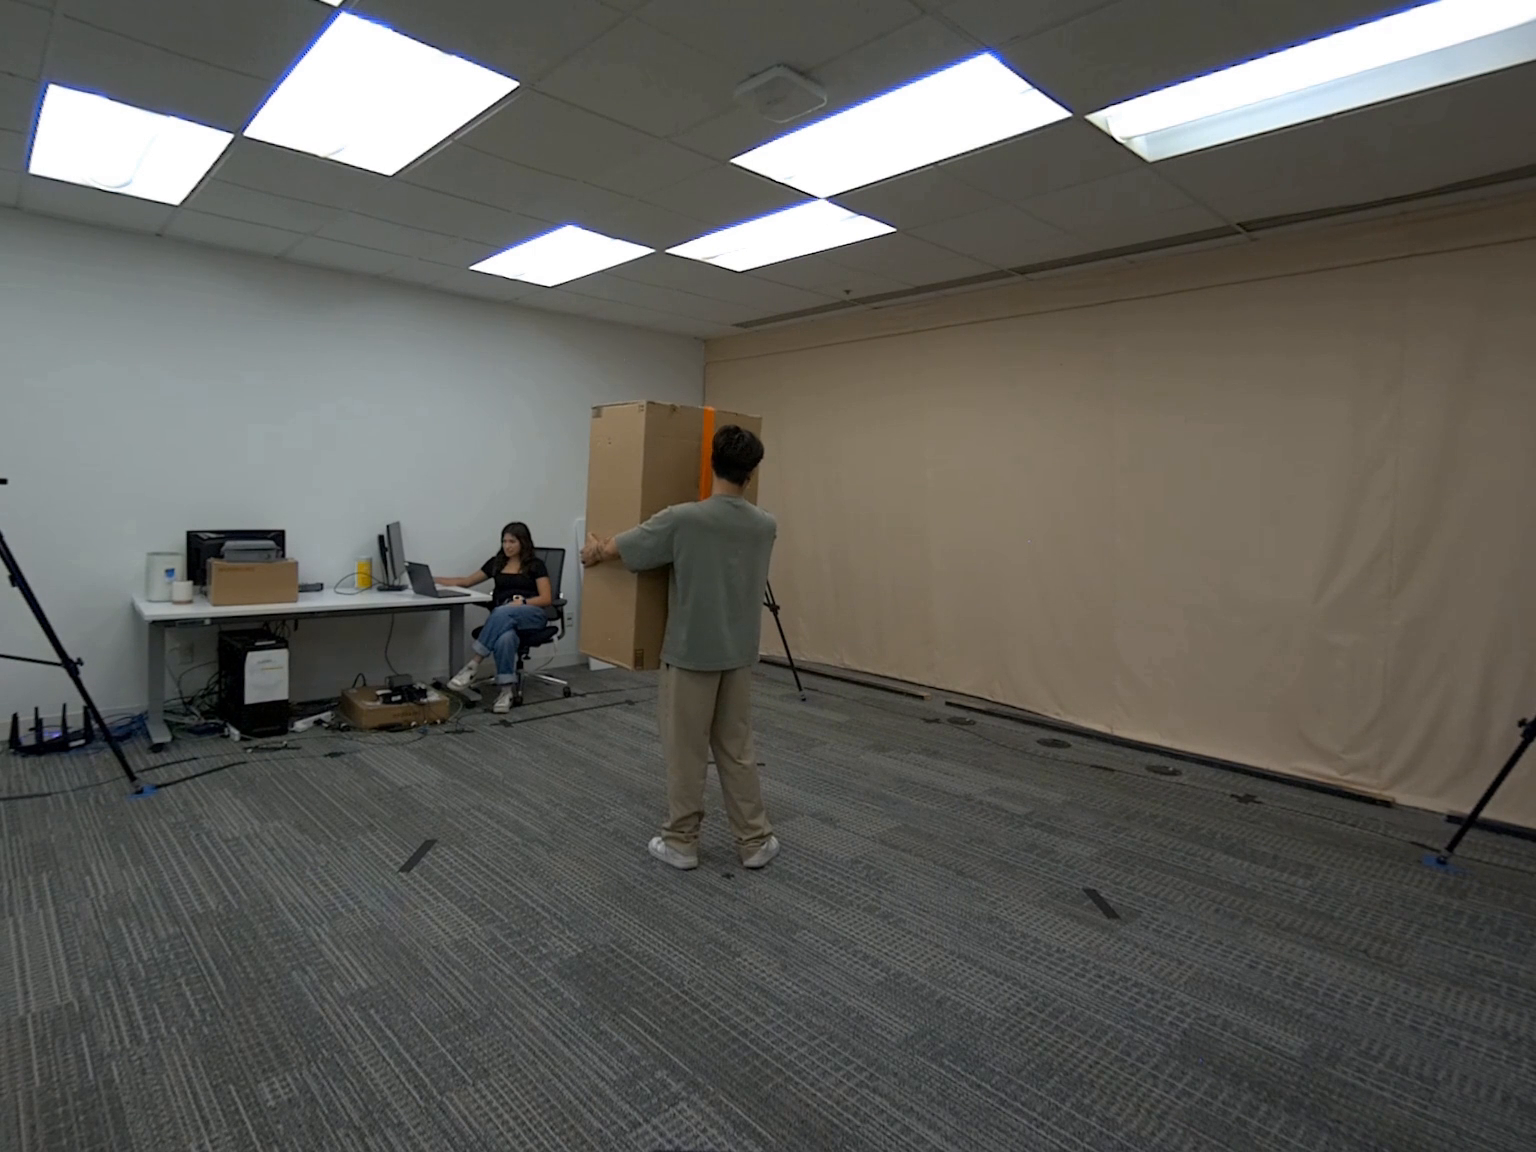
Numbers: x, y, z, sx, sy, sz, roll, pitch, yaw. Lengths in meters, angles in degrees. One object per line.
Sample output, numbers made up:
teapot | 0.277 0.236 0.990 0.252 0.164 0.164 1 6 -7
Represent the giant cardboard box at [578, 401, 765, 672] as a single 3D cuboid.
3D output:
giant cardboard box | -0.407 -0.168 3.488 0.564 1.024 0.437 2 3 -40
